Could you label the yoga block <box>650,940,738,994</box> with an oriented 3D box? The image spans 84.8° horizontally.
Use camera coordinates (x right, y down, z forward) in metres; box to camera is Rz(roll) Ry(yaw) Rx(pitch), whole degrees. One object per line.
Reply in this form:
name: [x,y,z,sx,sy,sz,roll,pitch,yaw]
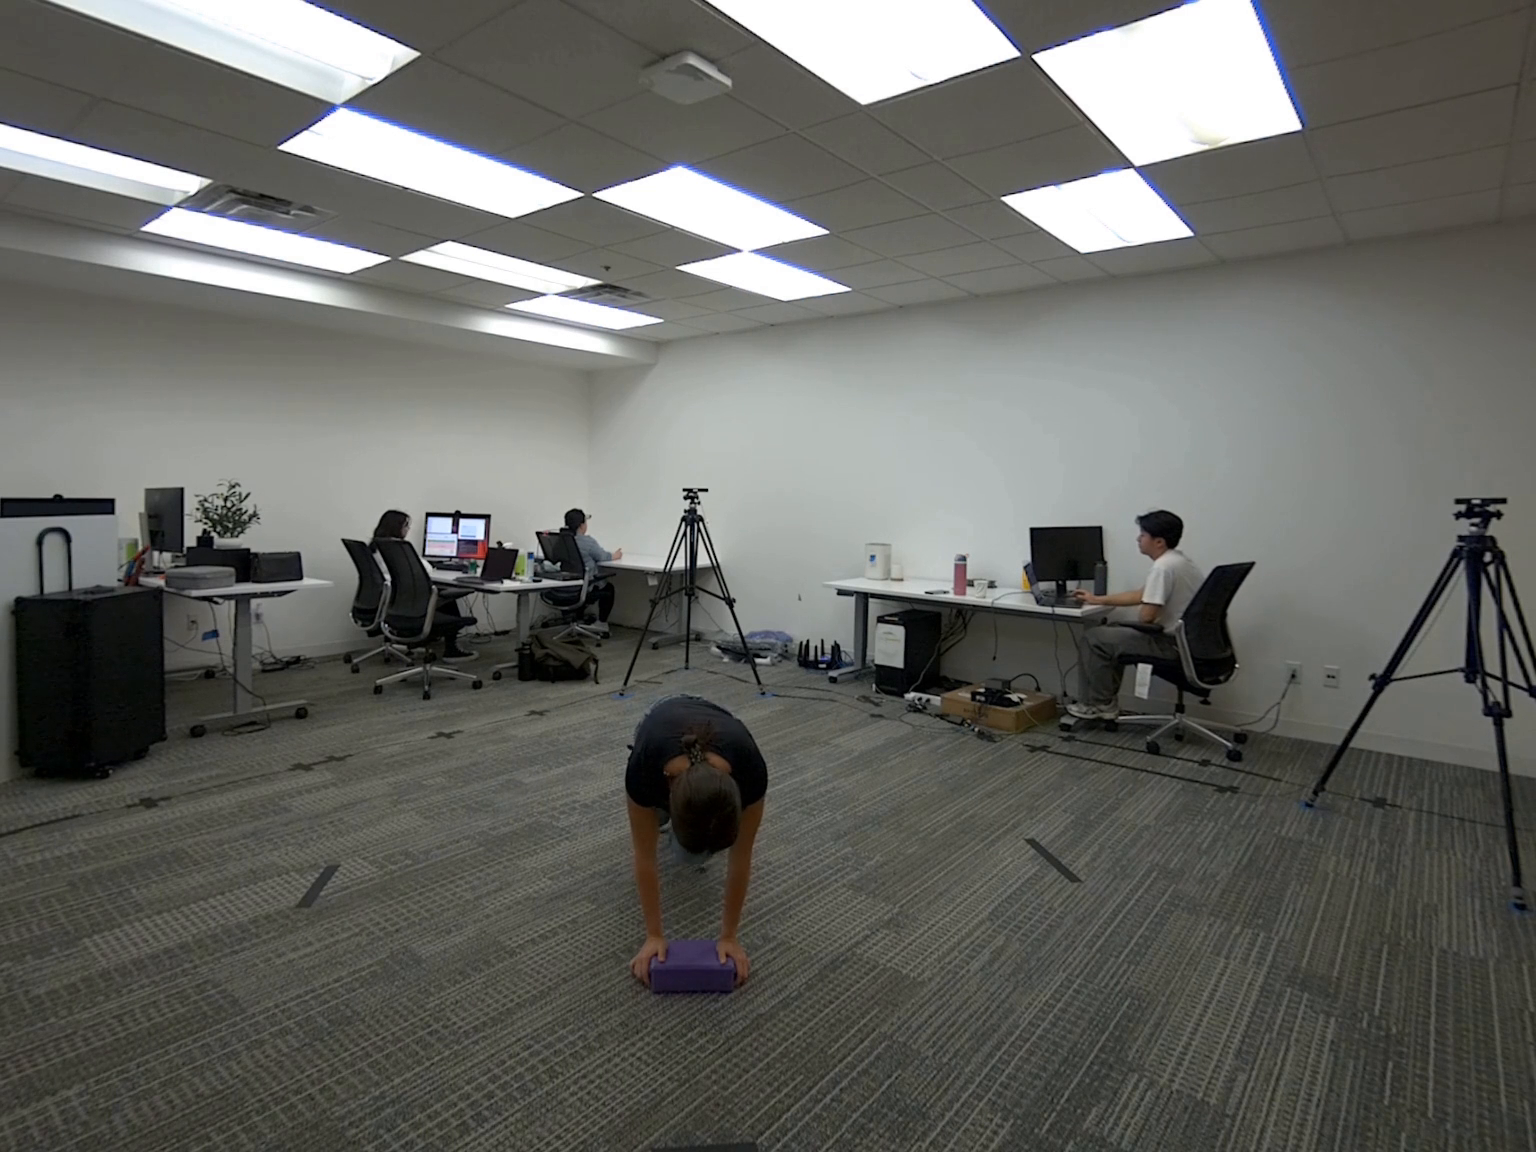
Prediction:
yoga block: [-0.218,1.099,2.408,0.228,0.076,0.150,2,3,-4]
